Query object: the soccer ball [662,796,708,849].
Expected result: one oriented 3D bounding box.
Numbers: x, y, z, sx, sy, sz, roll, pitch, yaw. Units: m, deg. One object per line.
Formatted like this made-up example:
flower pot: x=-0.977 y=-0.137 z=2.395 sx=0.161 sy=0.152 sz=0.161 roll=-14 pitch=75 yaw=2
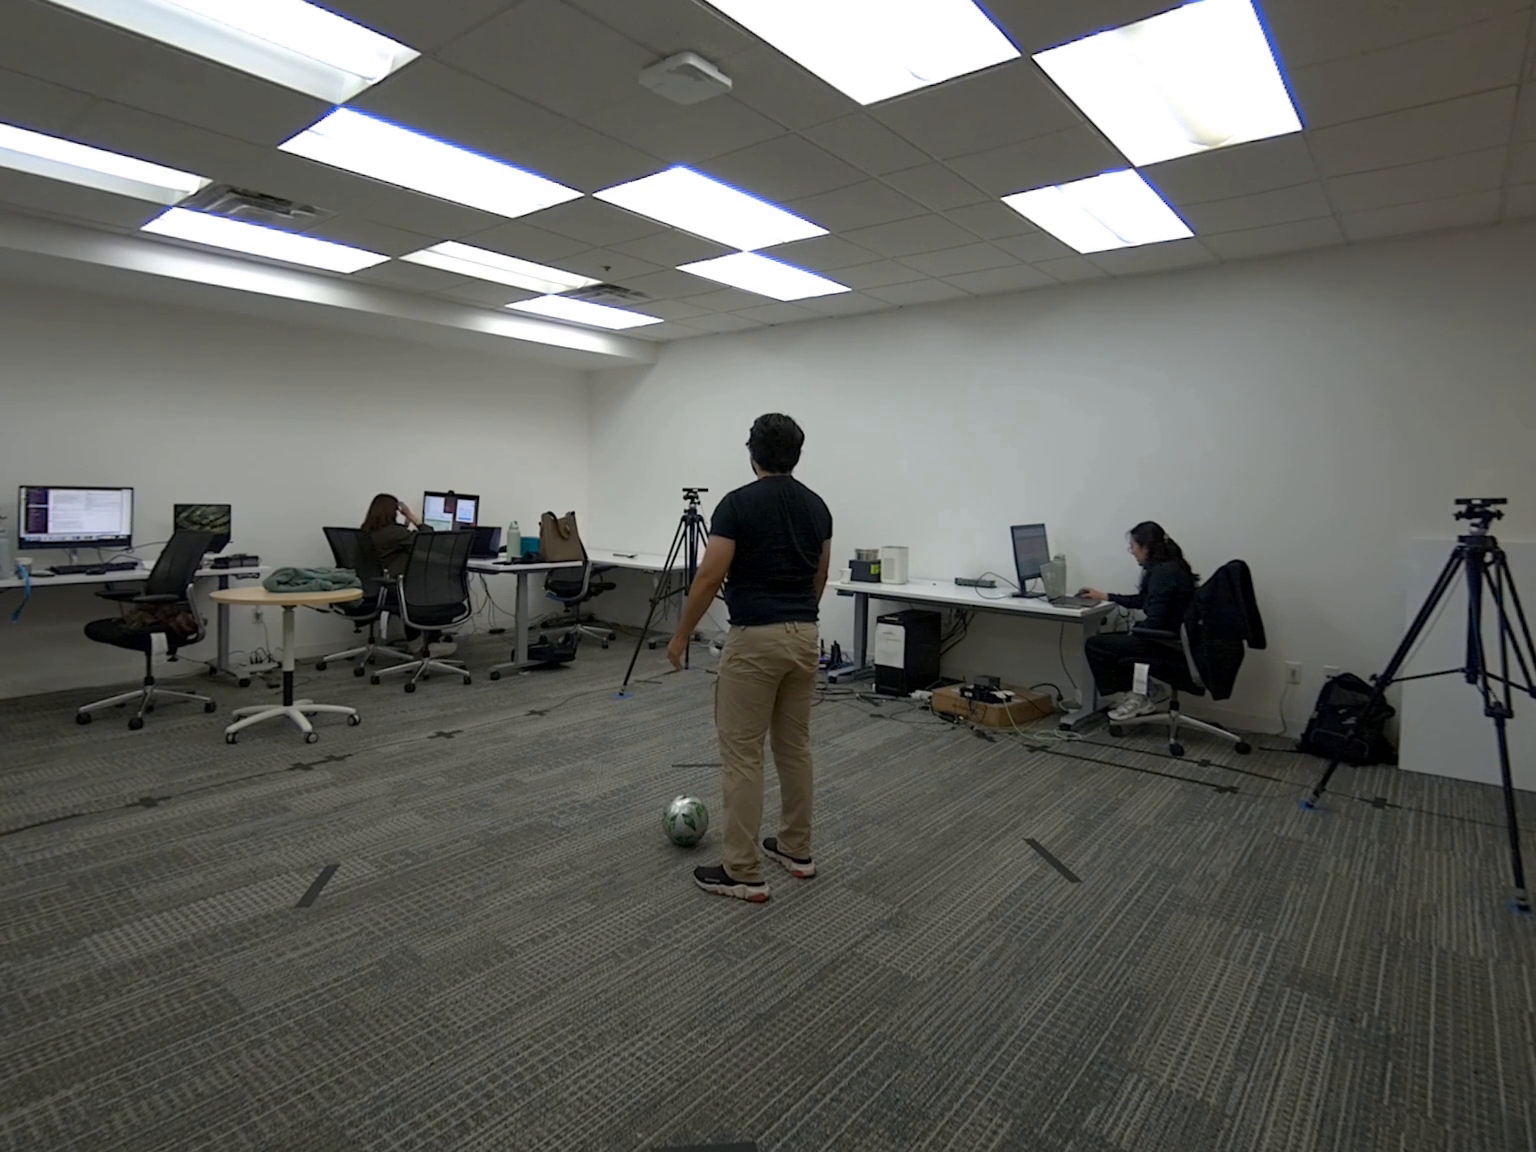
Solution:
soccer ball: x=-0.331 y=0.951 z=3.331 sx=0.187 sy=0.187 sz=0.188 roll=1 pitch=4 yaw=-2
